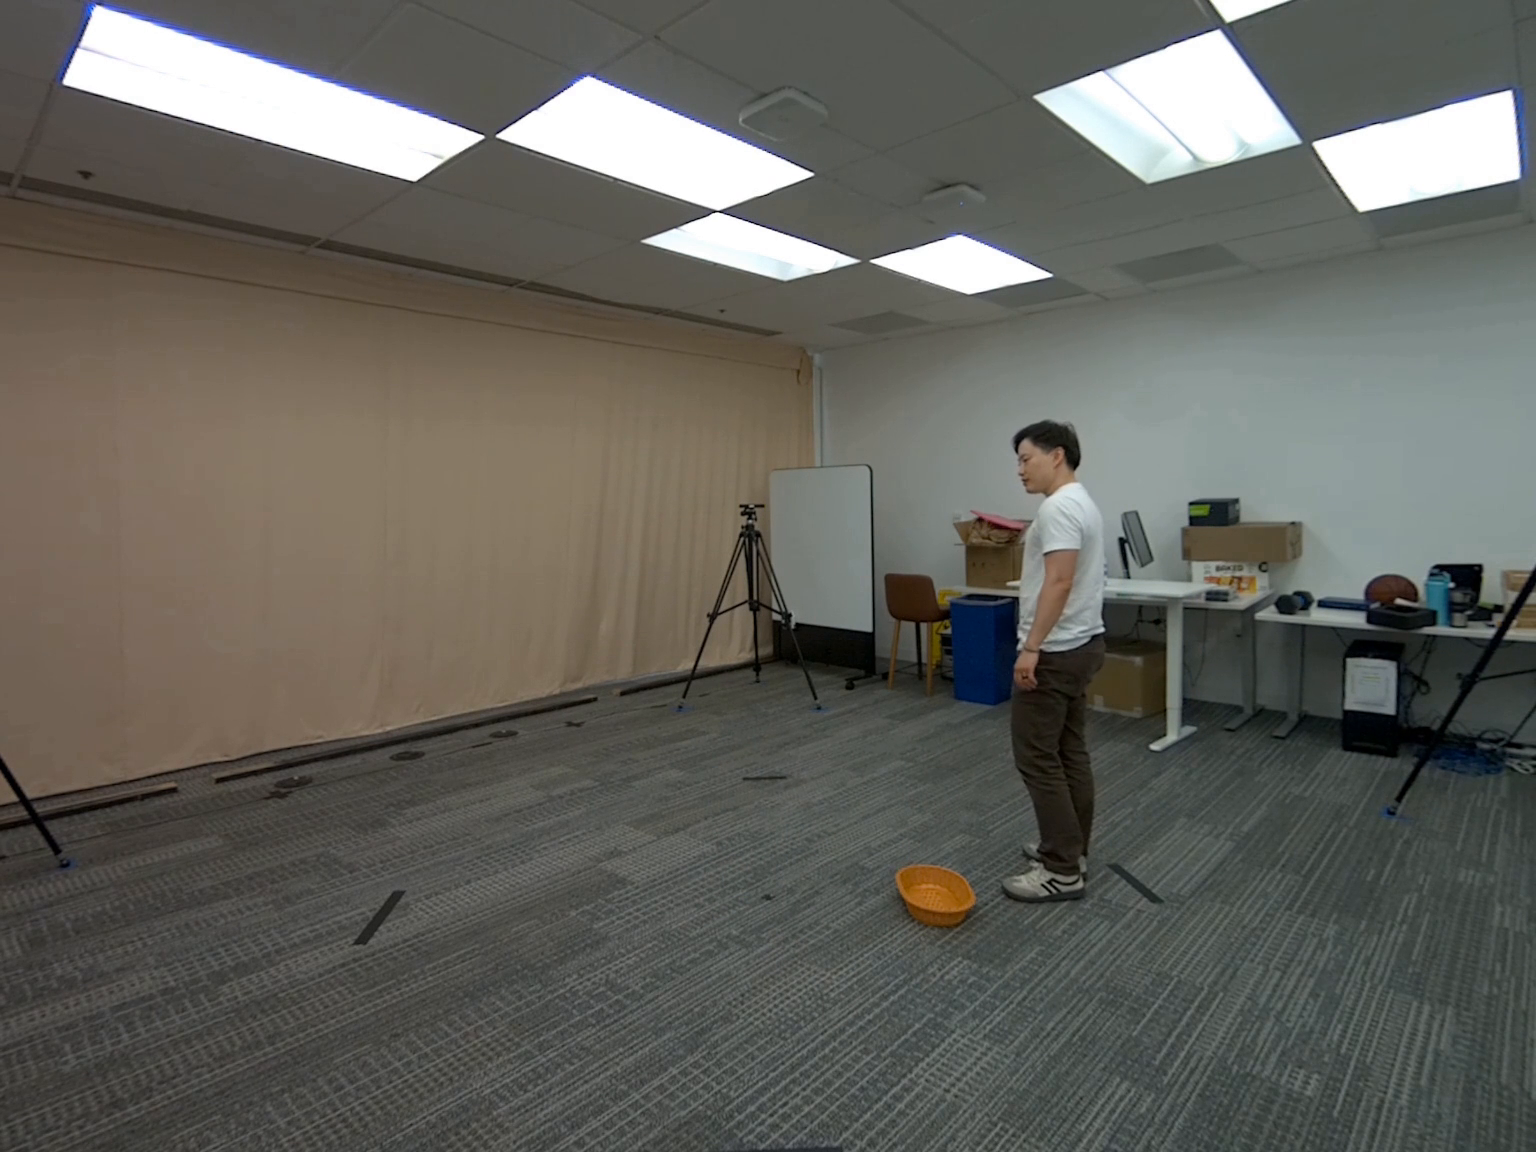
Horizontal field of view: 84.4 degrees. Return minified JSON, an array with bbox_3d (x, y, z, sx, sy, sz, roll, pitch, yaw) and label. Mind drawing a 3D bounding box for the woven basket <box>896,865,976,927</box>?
[{"bbox_3d":[0.573,1.097,2.890,0.253,0.073,0.350,0,5,3],"label":"woven basket"}]
